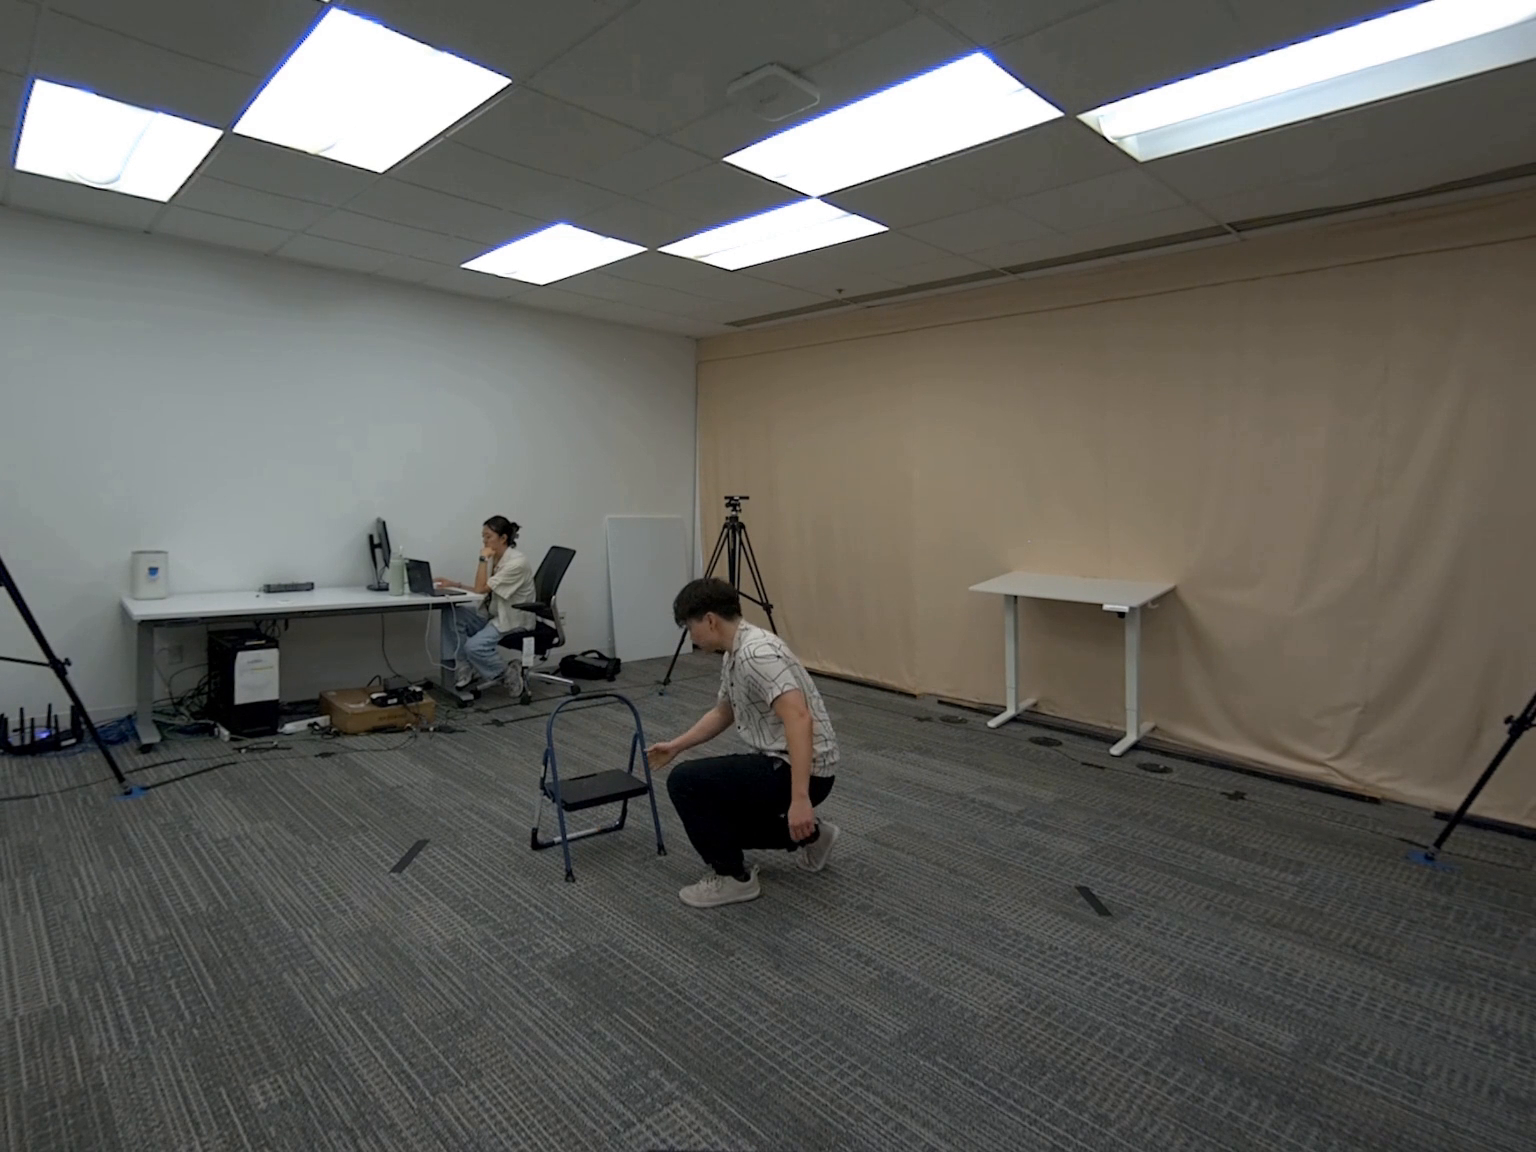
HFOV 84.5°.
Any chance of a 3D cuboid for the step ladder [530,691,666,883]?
[{"bbox_3d":[-0.657,0.771,3.266,0.421,0.604,0.358,-2,5,-39],"label":"step ladder"}]
